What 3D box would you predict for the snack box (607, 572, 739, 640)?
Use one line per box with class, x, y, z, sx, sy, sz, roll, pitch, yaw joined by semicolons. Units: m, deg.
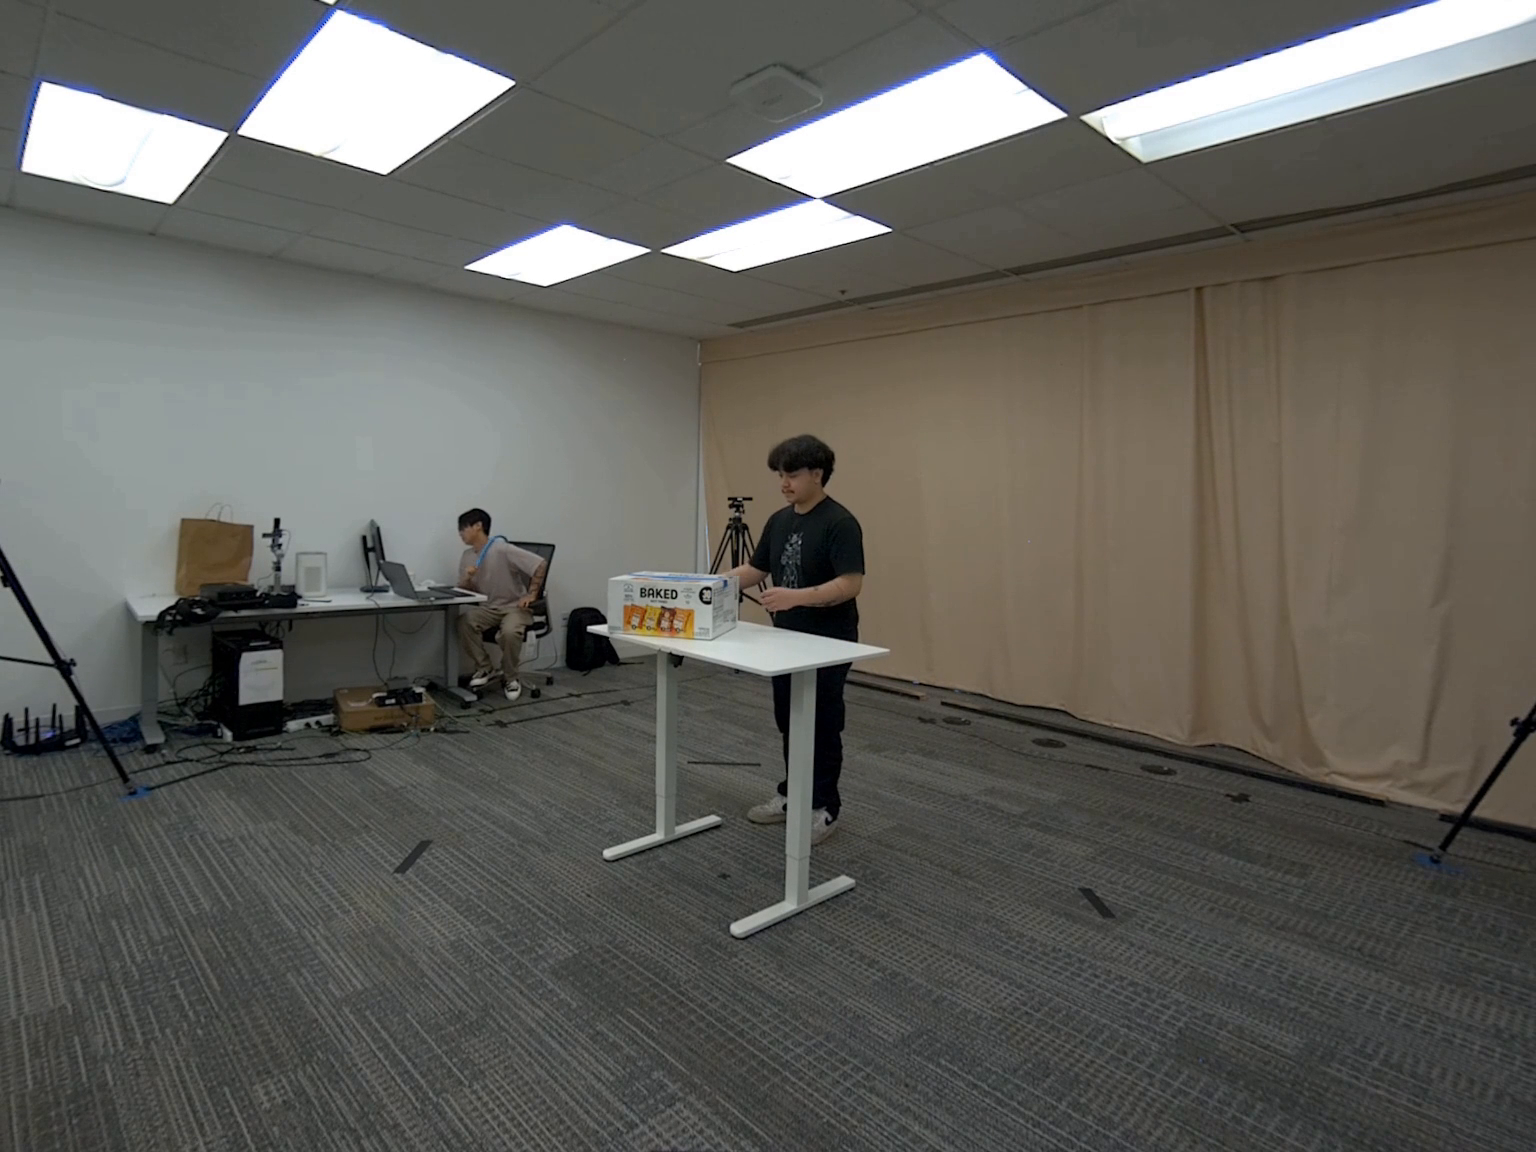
snack box;-0.360;0.105;3.214;0.410;0.205;0.337;3;5;15
